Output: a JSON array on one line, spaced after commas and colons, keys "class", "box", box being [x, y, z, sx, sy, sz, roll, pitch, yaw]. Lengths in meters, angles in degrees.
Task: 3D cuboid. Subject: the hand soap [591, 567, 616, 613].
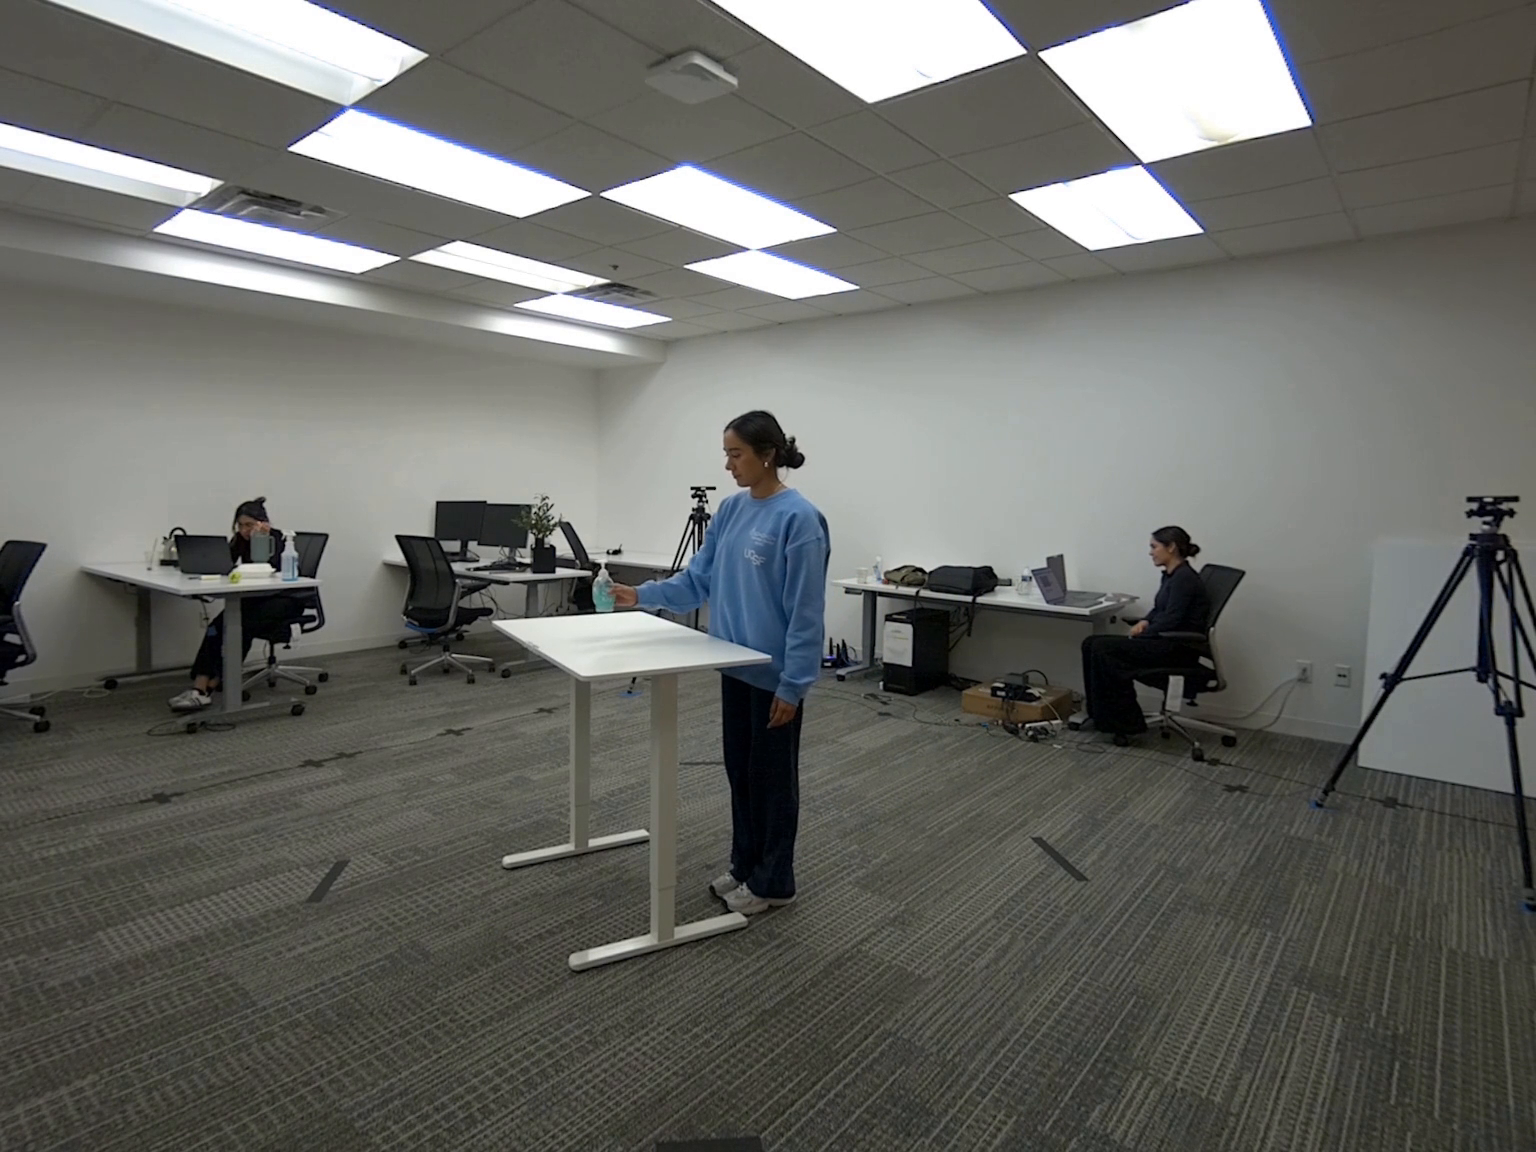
[{"class": "hand soap", "box": [-0.545, 0.031, 2.771, 0.044, 0.170, 0.081, -14, -15, 39]}]
